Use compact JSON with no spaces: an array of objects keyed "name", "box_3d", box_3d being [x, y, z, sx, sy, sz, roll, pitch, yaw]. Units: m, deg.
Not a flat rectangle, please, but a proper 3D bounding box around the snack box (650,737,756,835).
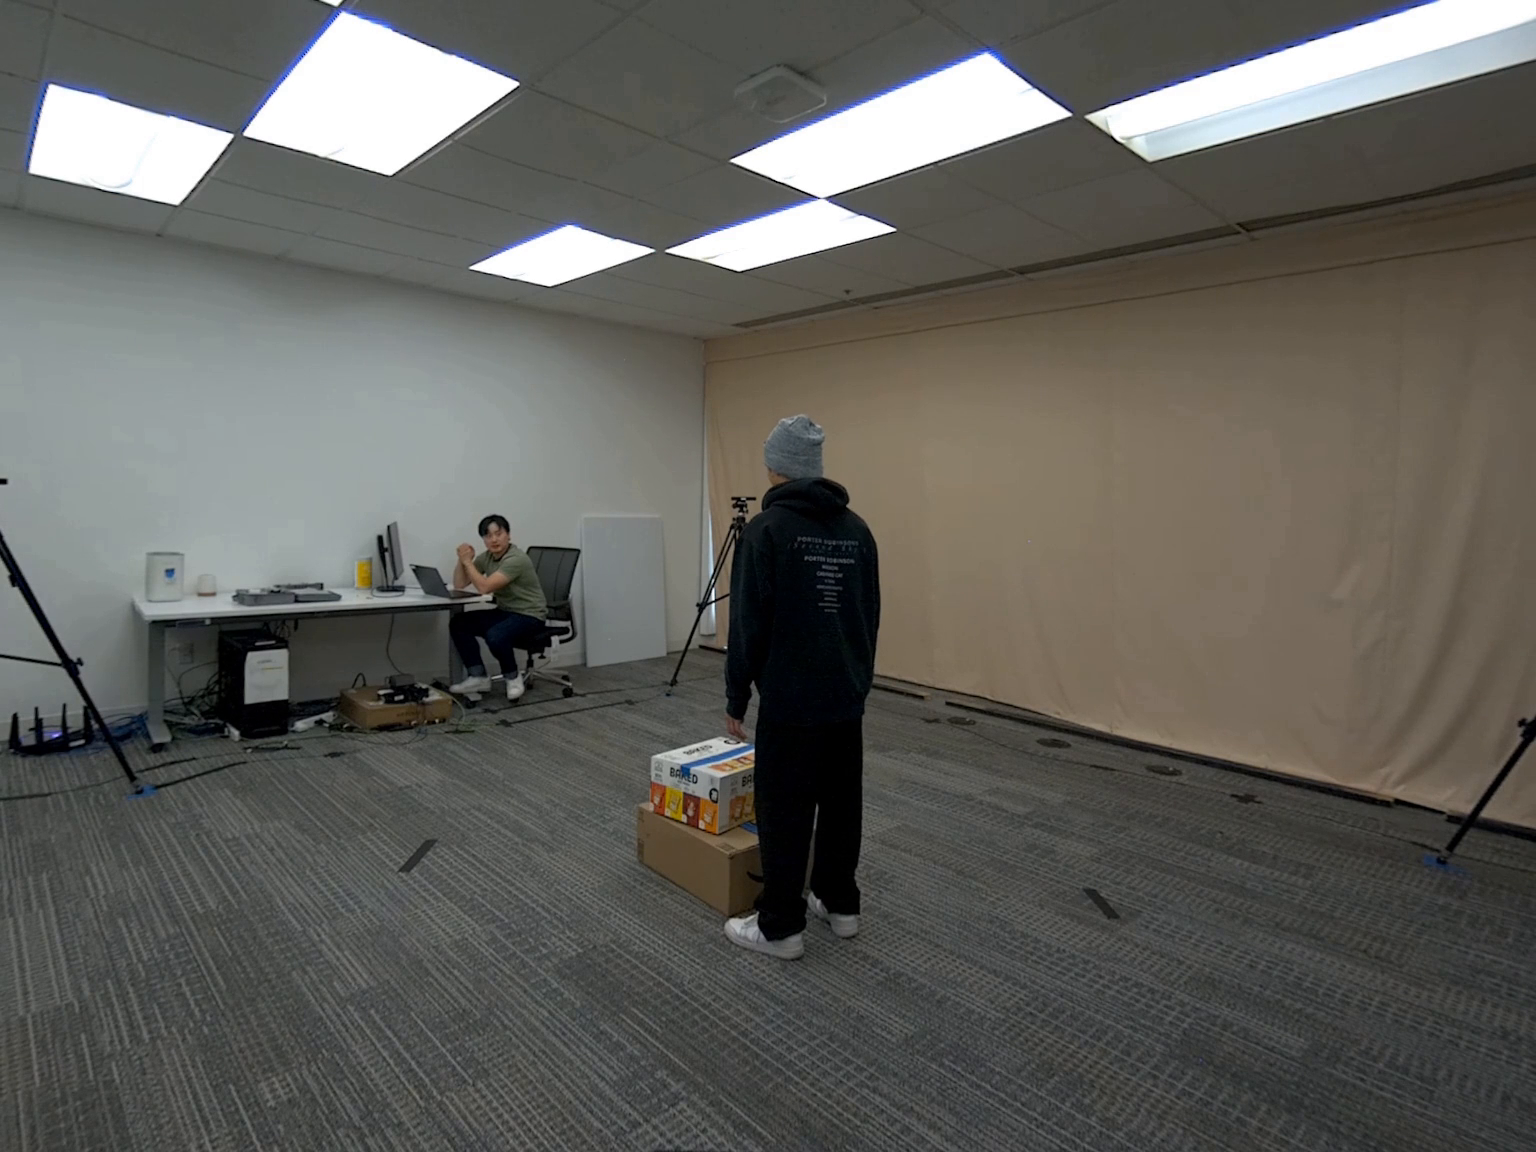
[{"name":"snack box","box_3d":[-0.190,0.780,3.178,0.349,0.205,0.396,5,5,38]}]
